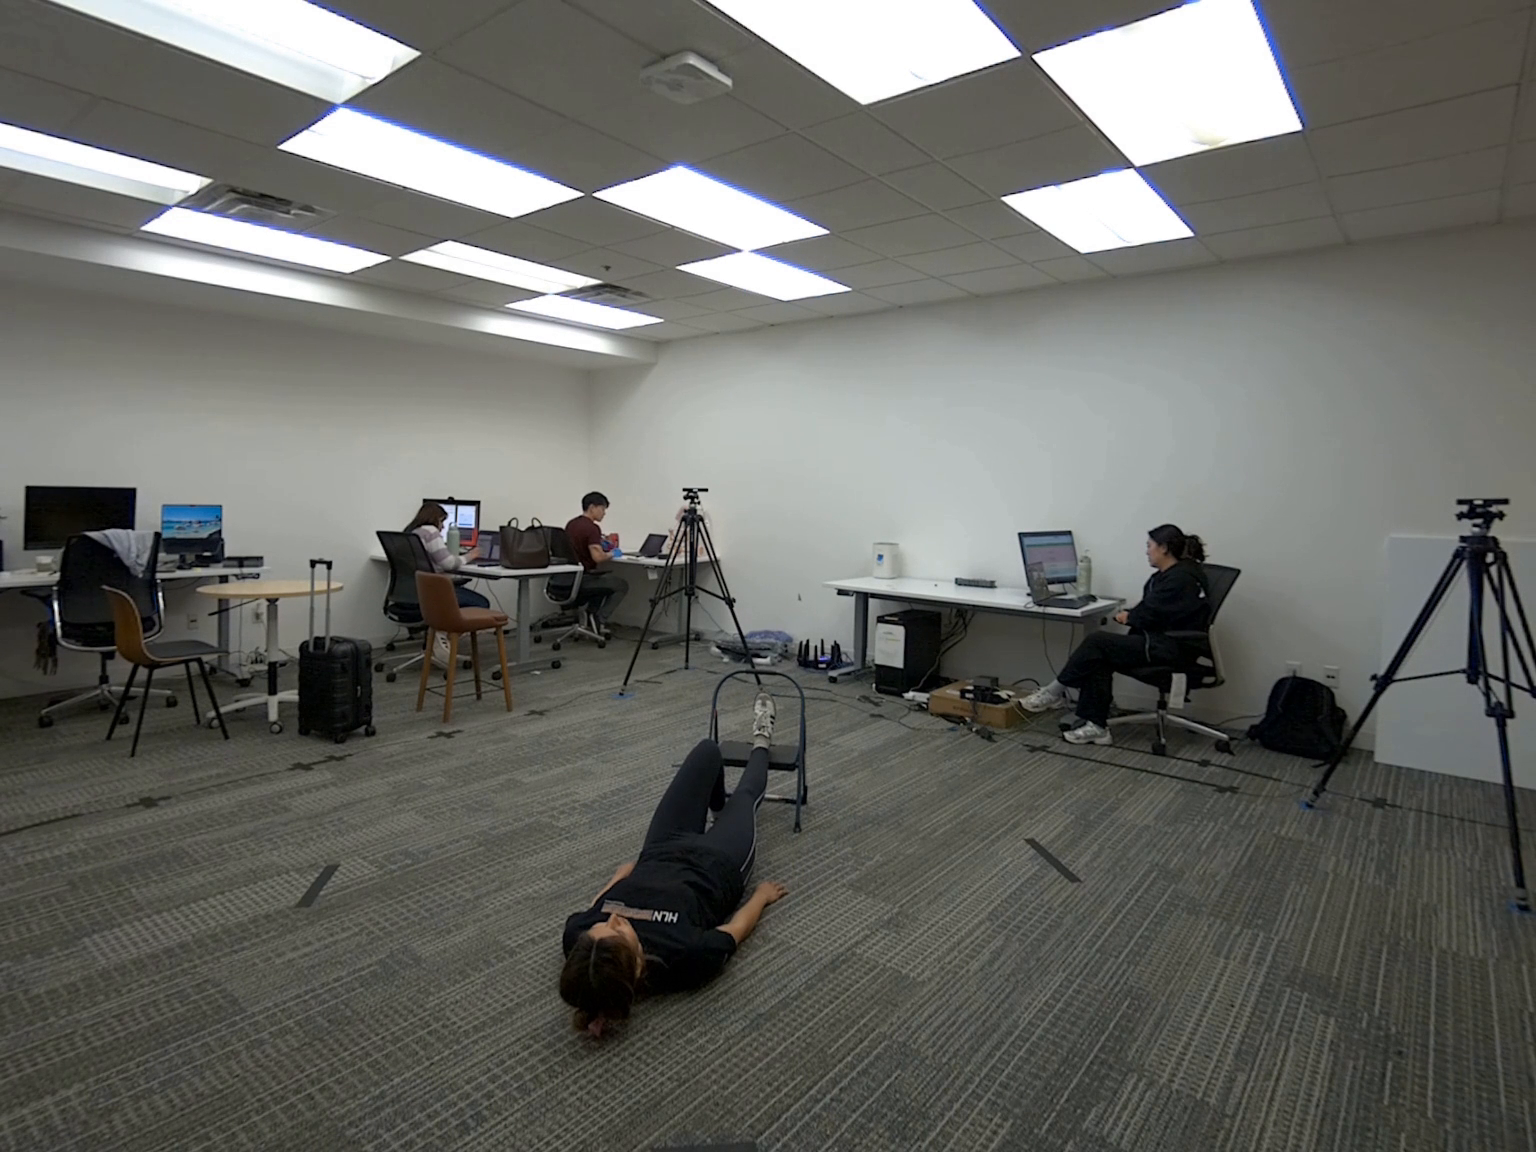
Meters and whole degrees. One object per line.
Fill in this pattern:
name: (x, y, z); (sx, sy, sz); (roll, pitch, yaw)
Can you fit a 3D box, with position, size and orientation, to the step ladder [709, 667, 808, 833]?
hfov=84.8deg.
step ladder: (-0.051, 0.718, 3.664); (0.436, 0.604, 0.346); (2, 3, 10)
